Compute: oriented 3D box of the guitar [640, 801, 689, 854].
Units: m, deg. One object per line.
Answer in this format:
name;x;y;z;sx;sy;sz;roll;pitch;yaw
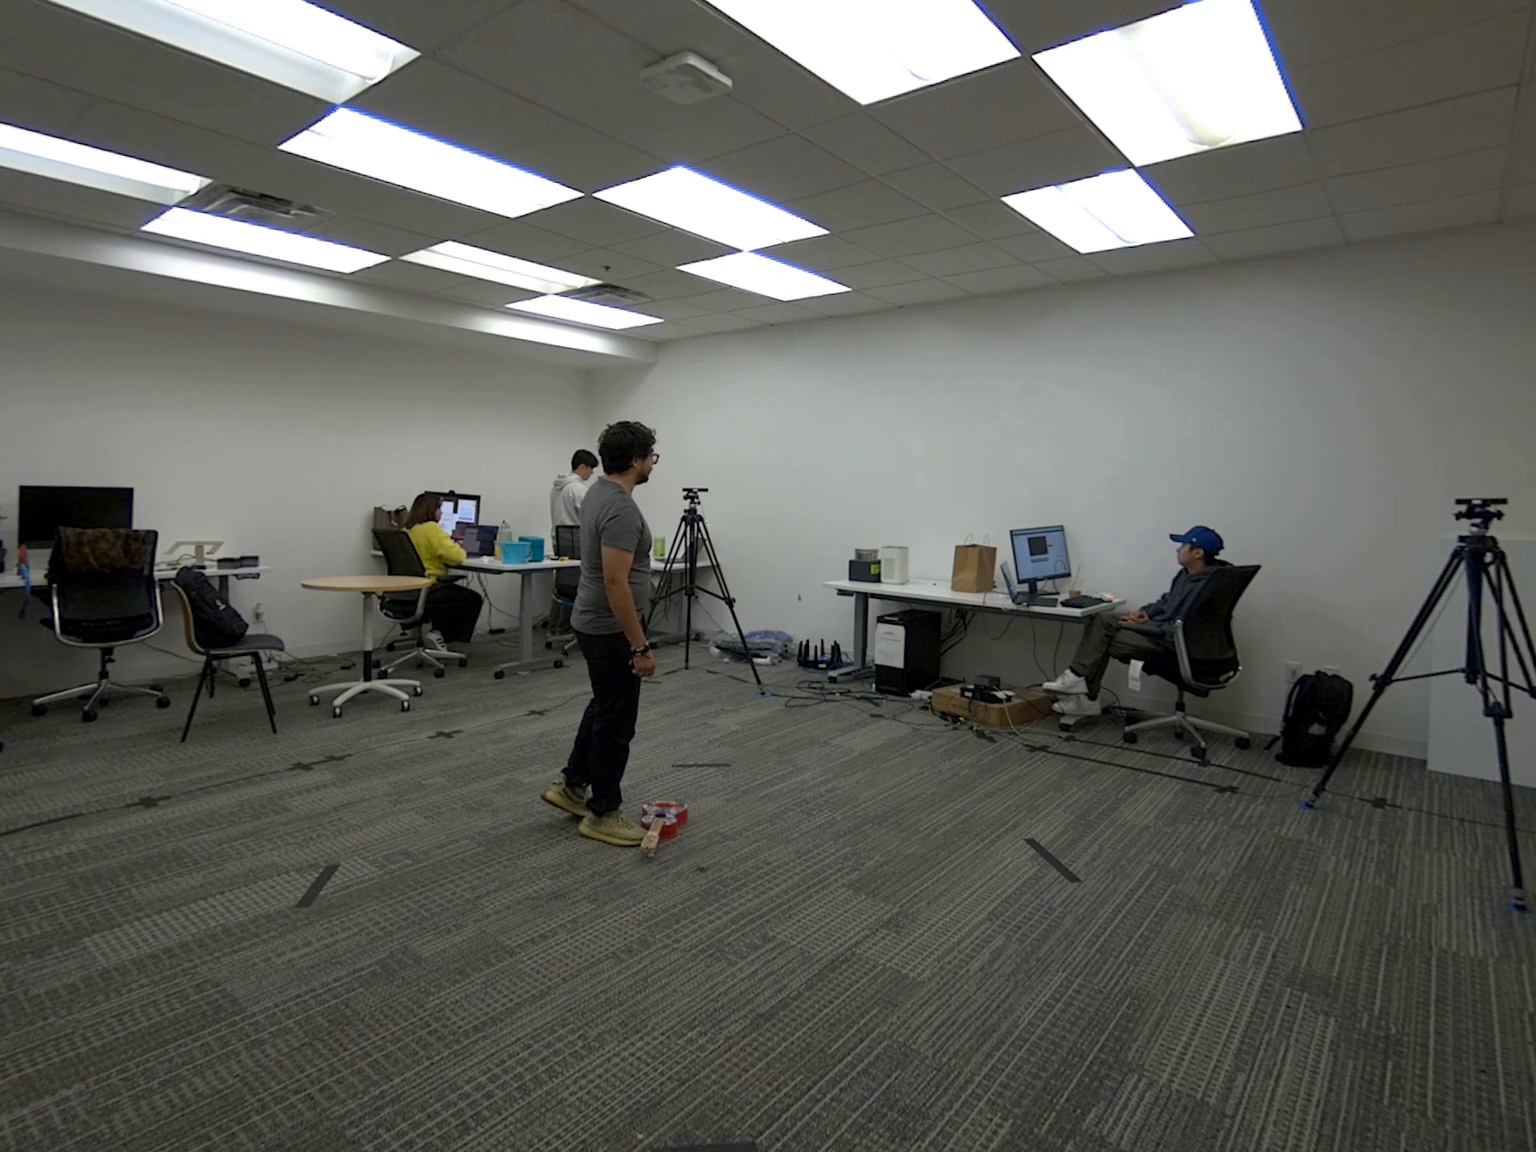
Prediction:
guitar;-0.476;1.009;3.395;0.196;0.070;0.493;2;5;11
